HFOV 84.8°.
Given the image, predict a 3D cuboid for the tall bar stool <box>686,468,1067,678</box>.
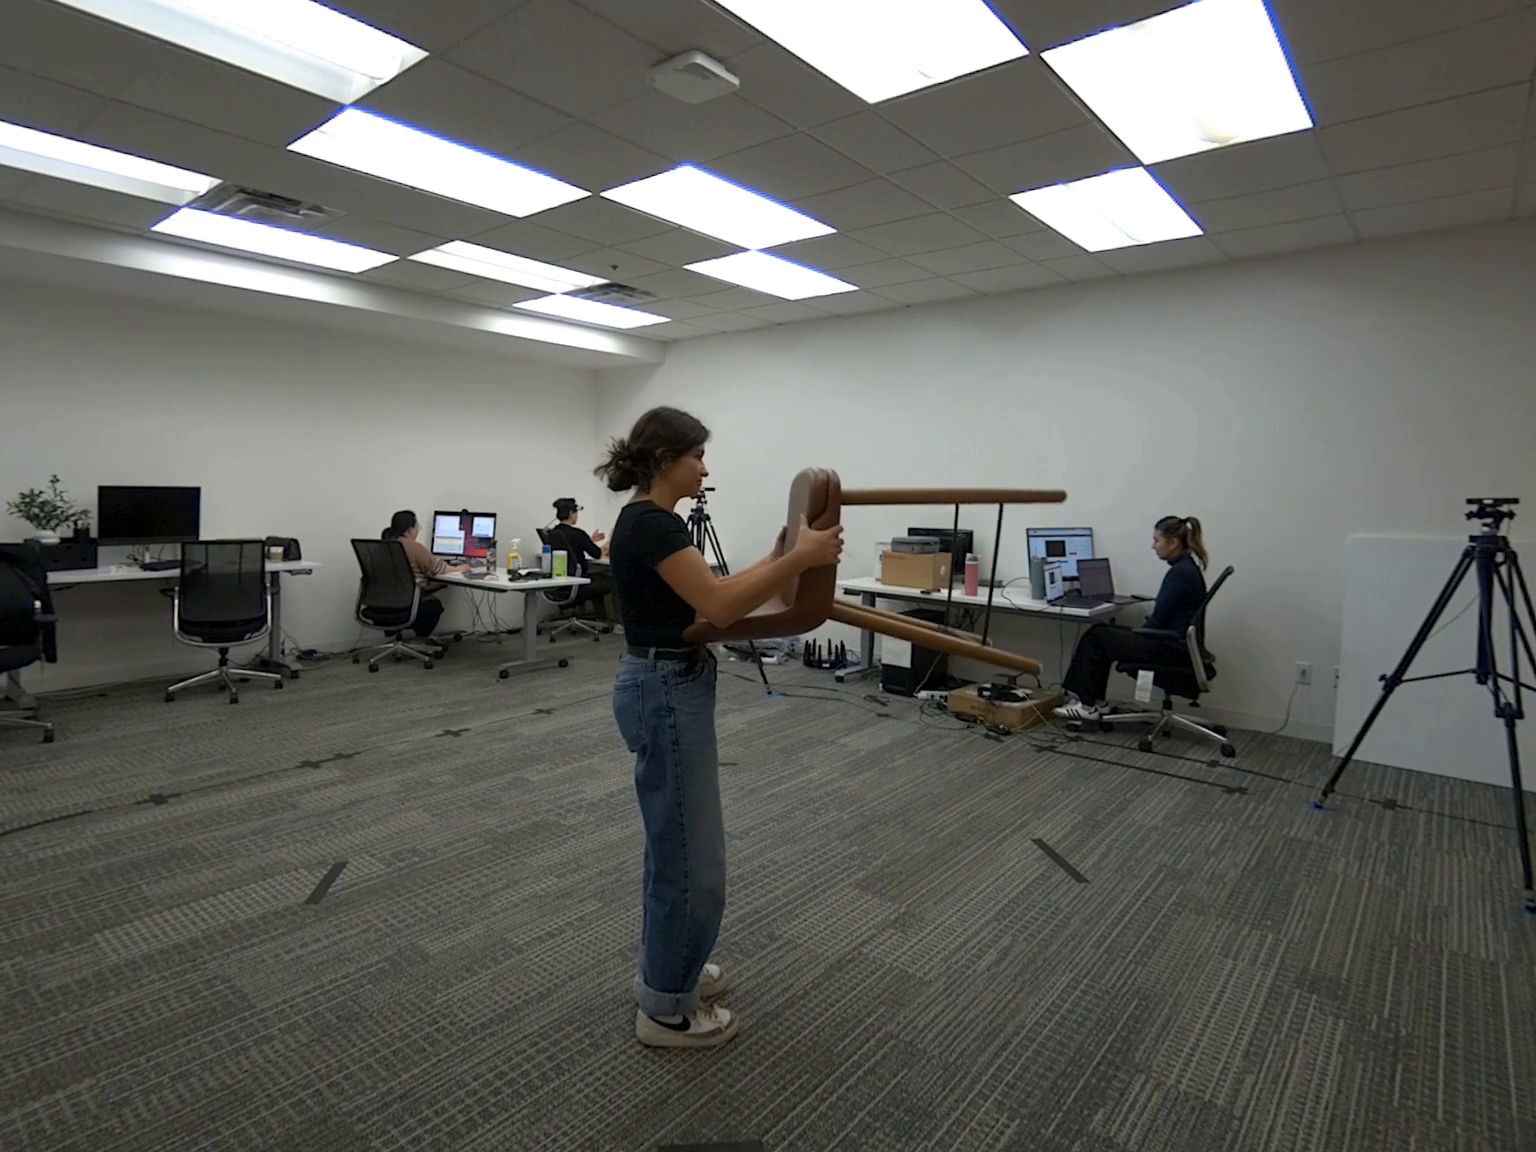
[{"bbox_3d":[0.232,-0.024,2.200,0.887,0.466,0.459,4,4,-3],"label":"tall bar stool"}]
